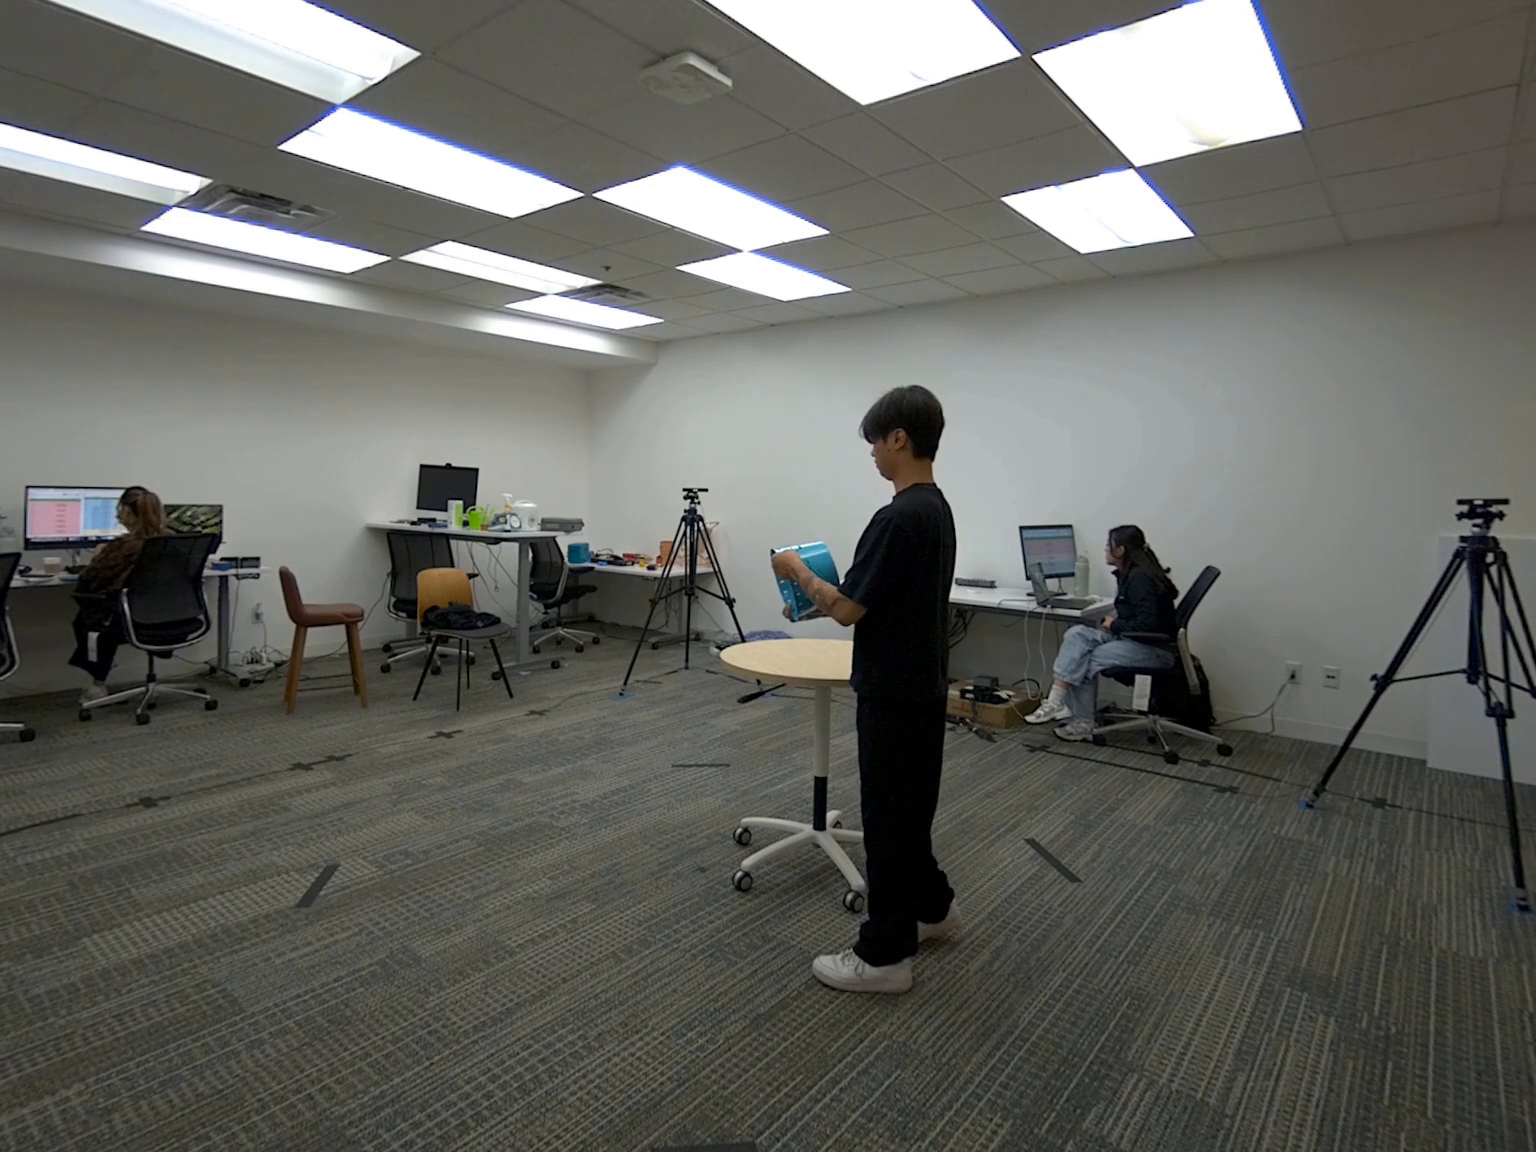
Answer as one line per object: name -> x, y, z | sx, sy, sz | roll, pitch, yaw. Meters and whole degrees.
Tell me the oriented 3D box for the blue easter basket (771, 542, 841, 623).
blue easter basket -> 0.110, 0.003, 2.616 | 0.155, 0.242, 0.247 | -18, 7, -8
